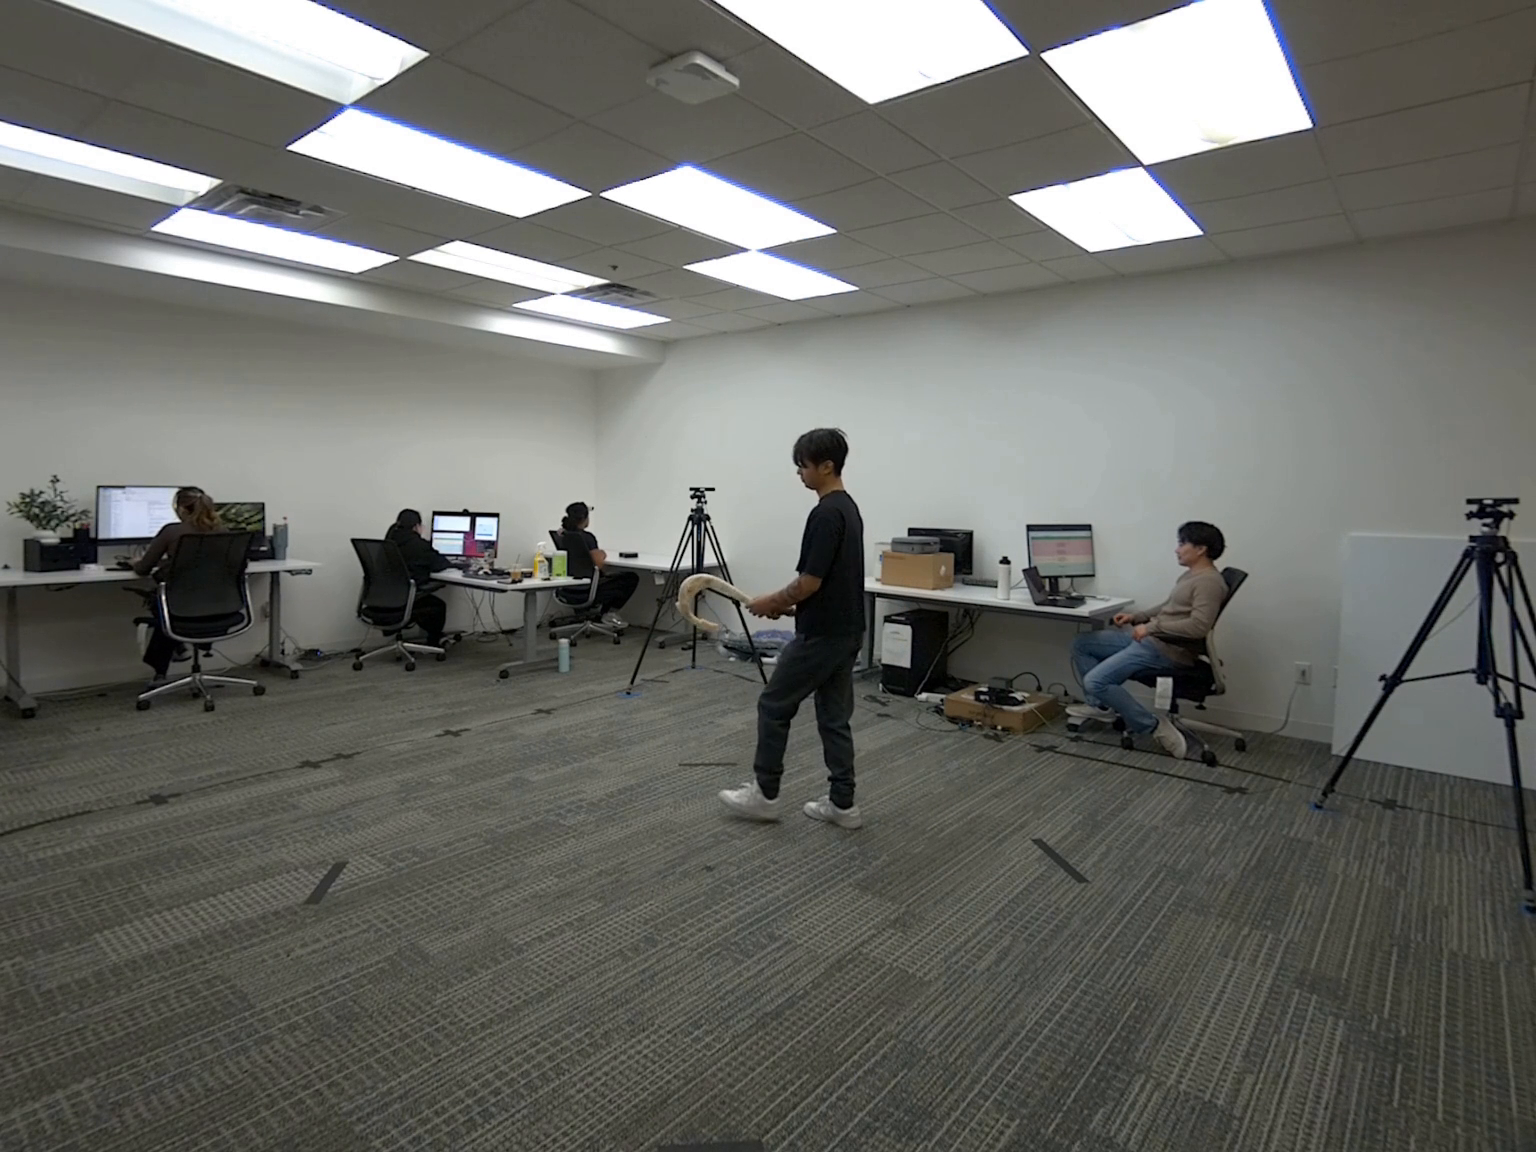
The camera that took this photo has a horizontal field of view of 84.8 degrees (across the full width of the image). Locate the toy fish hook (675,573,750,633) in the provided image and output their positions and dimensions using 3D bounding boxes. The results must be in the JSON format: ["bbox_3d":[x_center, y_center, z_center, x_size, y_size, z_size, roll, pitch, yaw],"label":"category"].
[{"bbox_3d":[-0.133,0.160,3.576,0.505,0.224,0.048,15,3,-2],"label":"toy fish hook"}]
